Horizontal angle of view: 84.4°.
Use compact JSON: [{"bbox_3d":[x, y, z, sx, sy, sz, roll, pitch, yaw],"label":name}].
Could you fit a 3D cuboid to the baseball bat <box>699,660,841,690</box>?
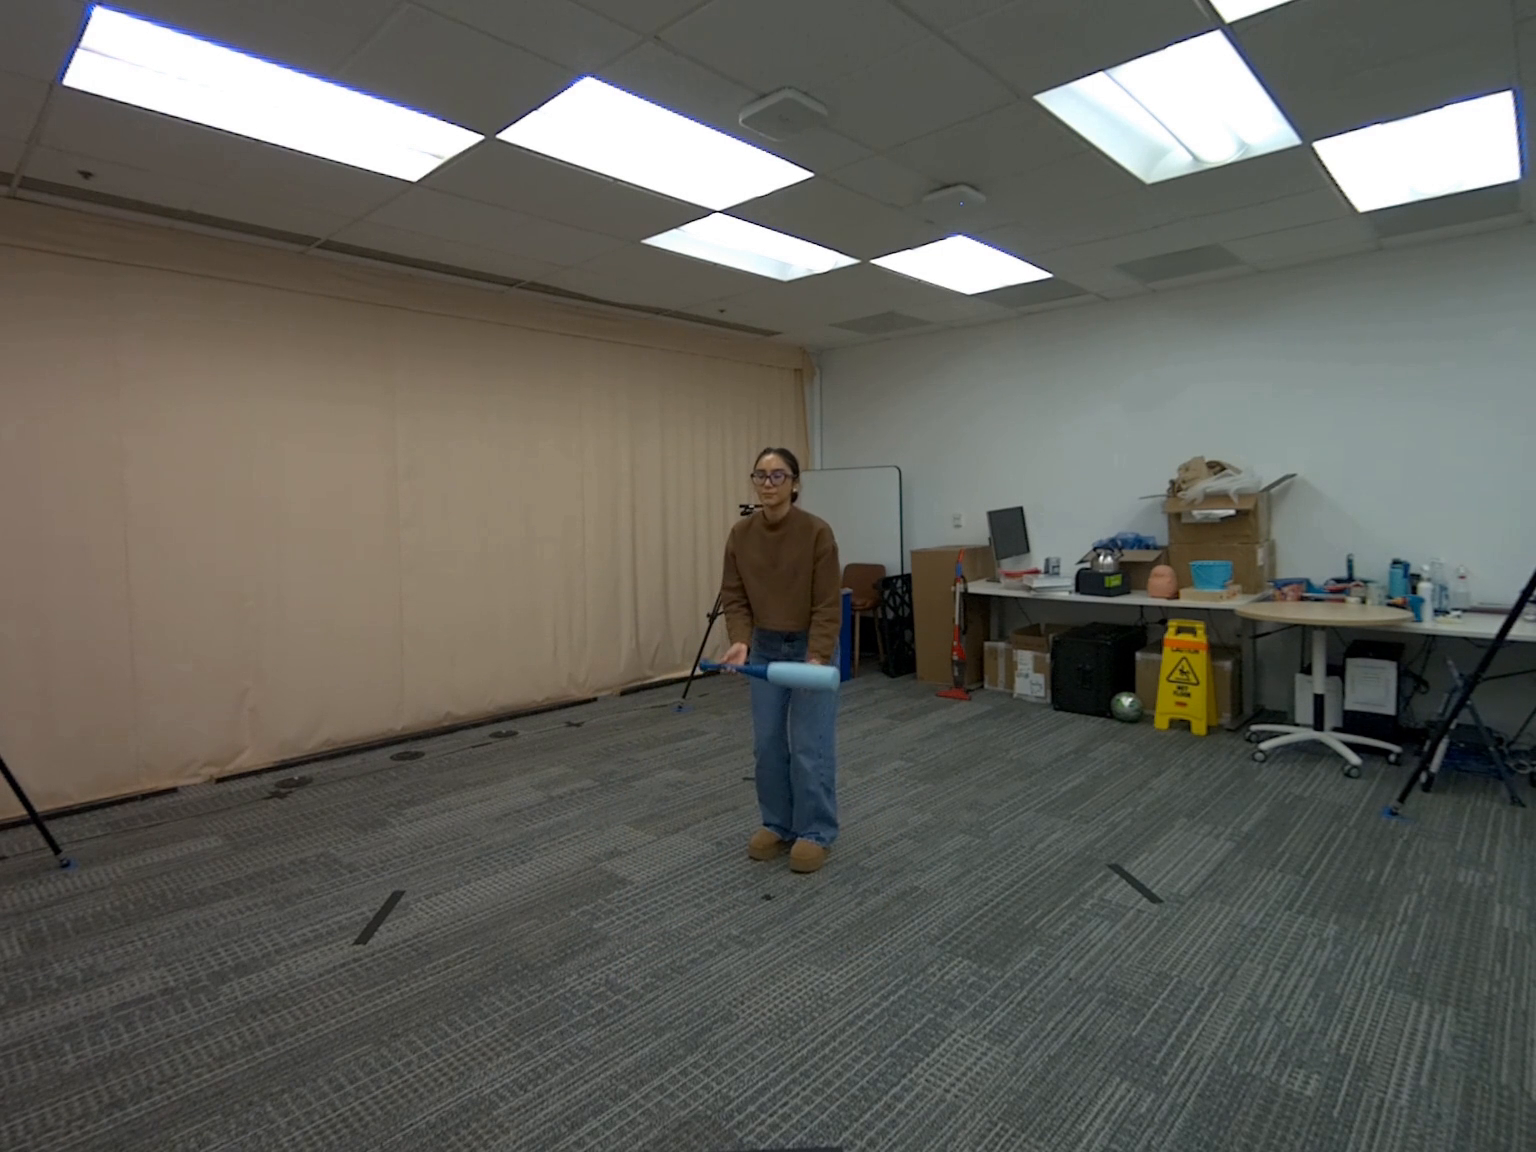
[{"bbox_3d":[-0.017,0.292,2.989,0.558,0.089,0.087,2,5,28],"label":"baseball bat"}]
